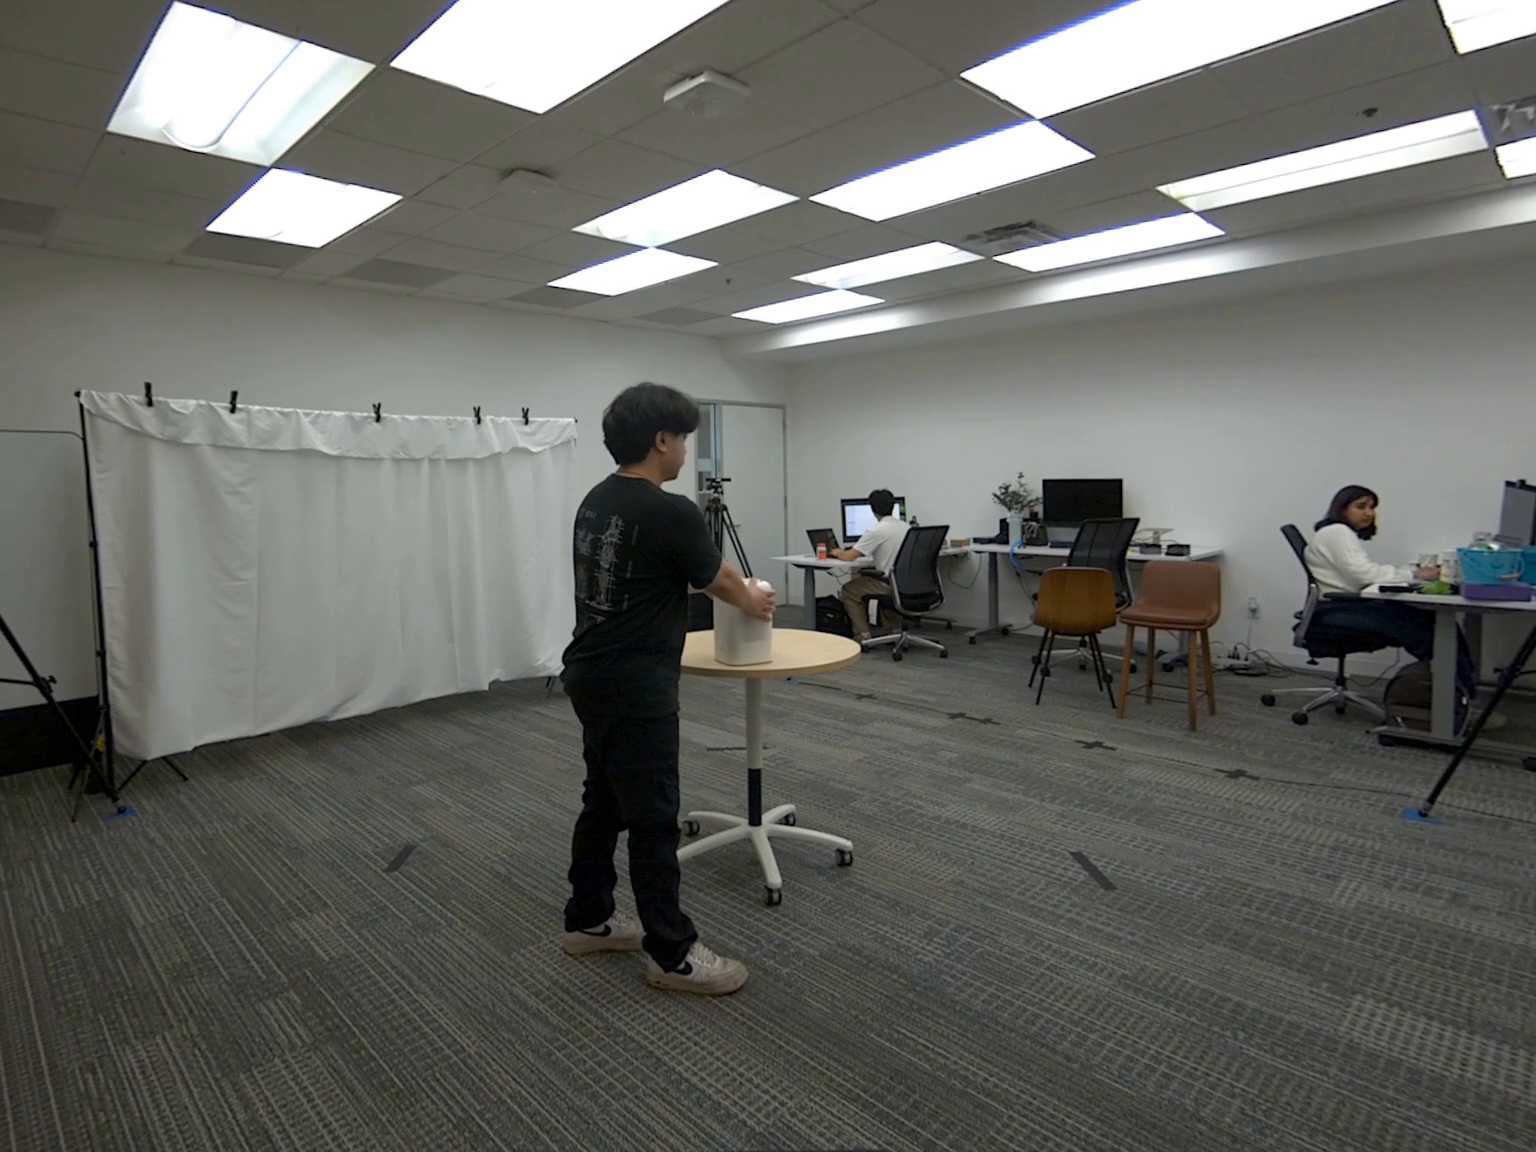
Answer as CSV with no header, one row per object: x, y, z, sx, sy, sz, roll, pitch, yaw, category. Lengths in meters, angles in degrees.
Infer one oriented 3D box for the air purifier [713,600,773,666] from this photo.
-0.082,0.149,2.823,0.168,0.264,0.175,-3,7,-25,air purifier
